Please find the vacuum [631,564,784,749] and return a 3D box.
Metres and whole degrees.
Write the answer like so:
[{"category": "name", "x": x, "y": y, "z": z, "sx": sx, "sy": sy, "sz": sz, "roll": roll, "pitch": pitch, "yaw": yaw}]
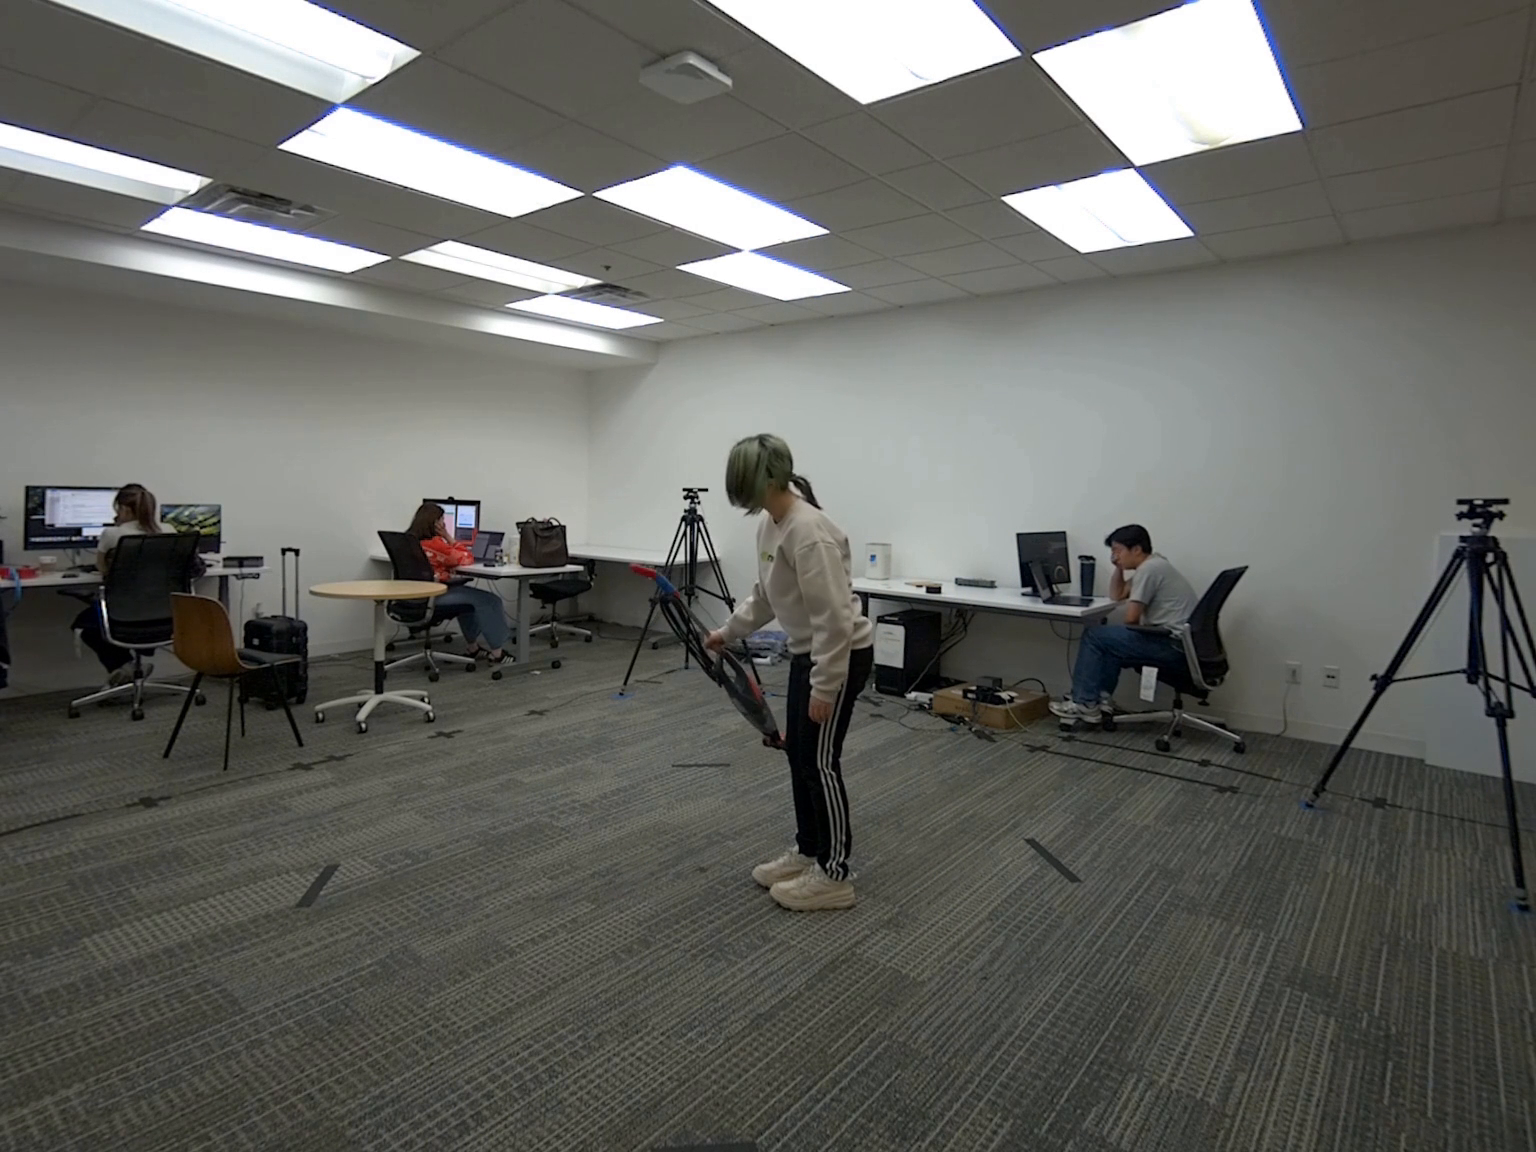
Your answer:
[{"category": "vacuum", "x": -0.211, "y": 0.321, "z": 3.210, "sx": 0.260, "sy": 0.145, "sz": 1.013, "roll": -6, "pitch": -47, "yaw": 45}]
